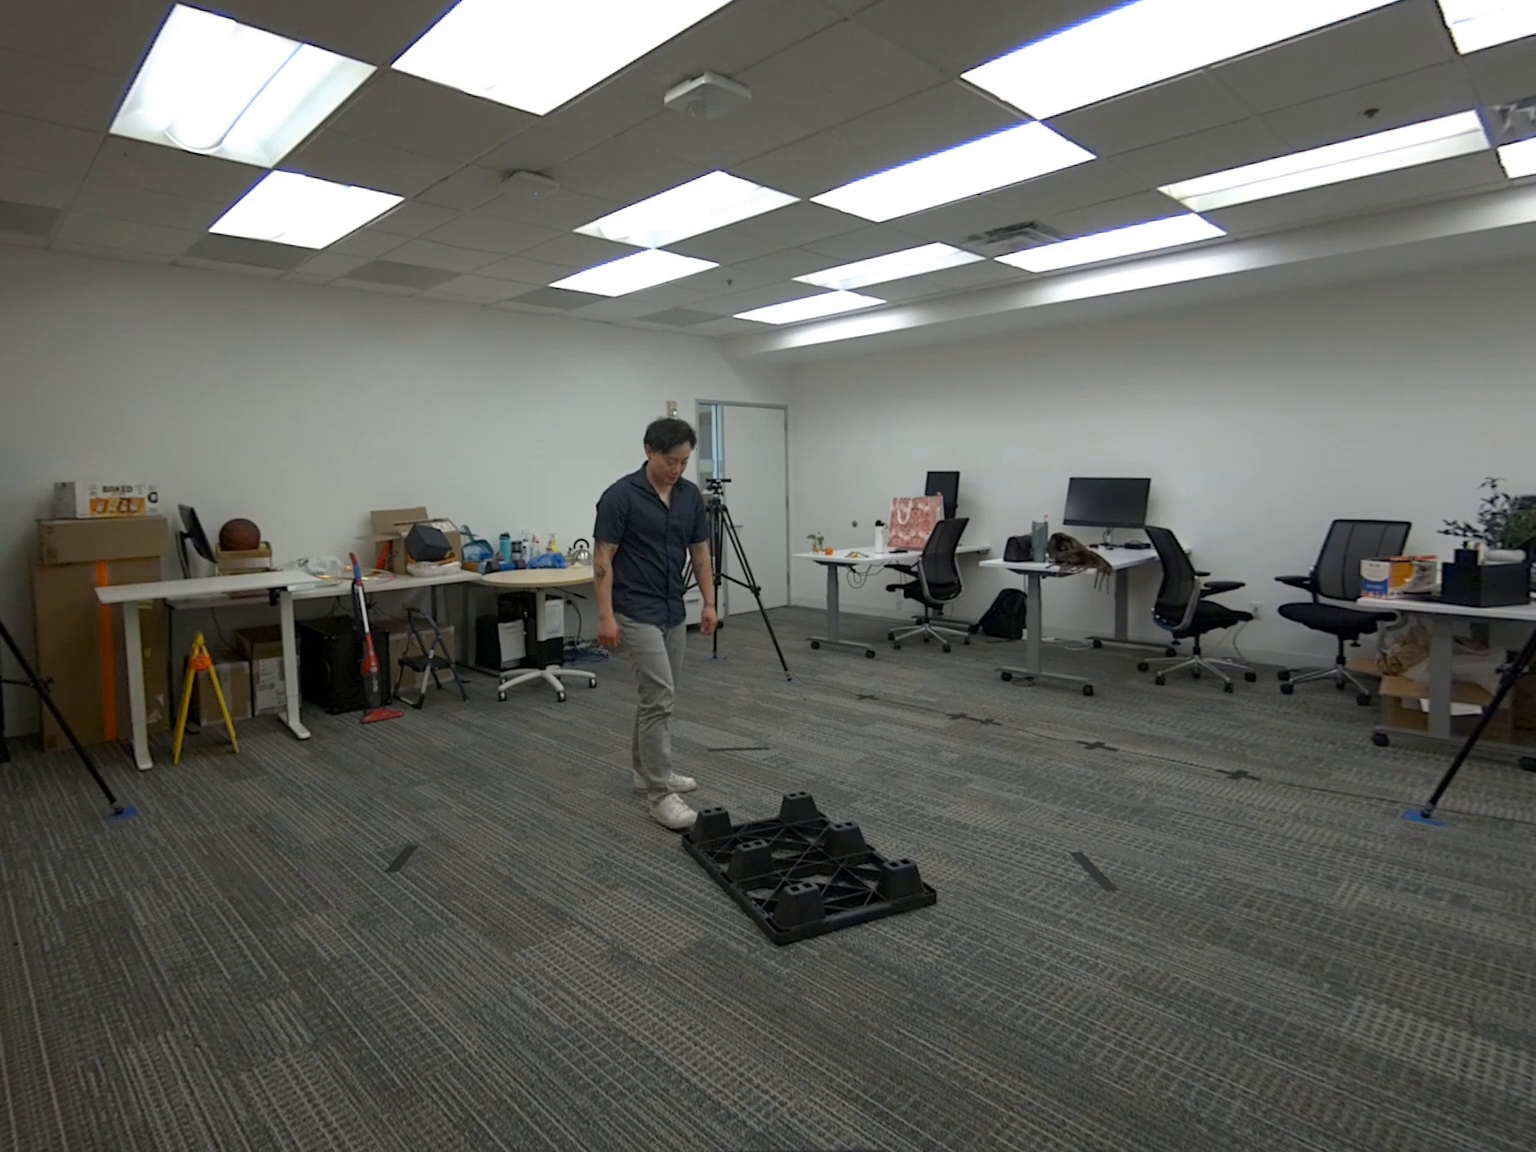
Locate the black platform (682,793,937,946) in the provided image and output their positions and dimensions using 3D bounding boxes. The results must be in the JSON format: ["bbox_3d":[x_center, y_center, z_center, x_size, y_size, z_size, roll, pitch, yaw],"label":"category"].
[{"bbox_3d":[0.106,0.982,3.029,0.592,0.143,0.826,-4,7,-26],"label":"black platform"}]
